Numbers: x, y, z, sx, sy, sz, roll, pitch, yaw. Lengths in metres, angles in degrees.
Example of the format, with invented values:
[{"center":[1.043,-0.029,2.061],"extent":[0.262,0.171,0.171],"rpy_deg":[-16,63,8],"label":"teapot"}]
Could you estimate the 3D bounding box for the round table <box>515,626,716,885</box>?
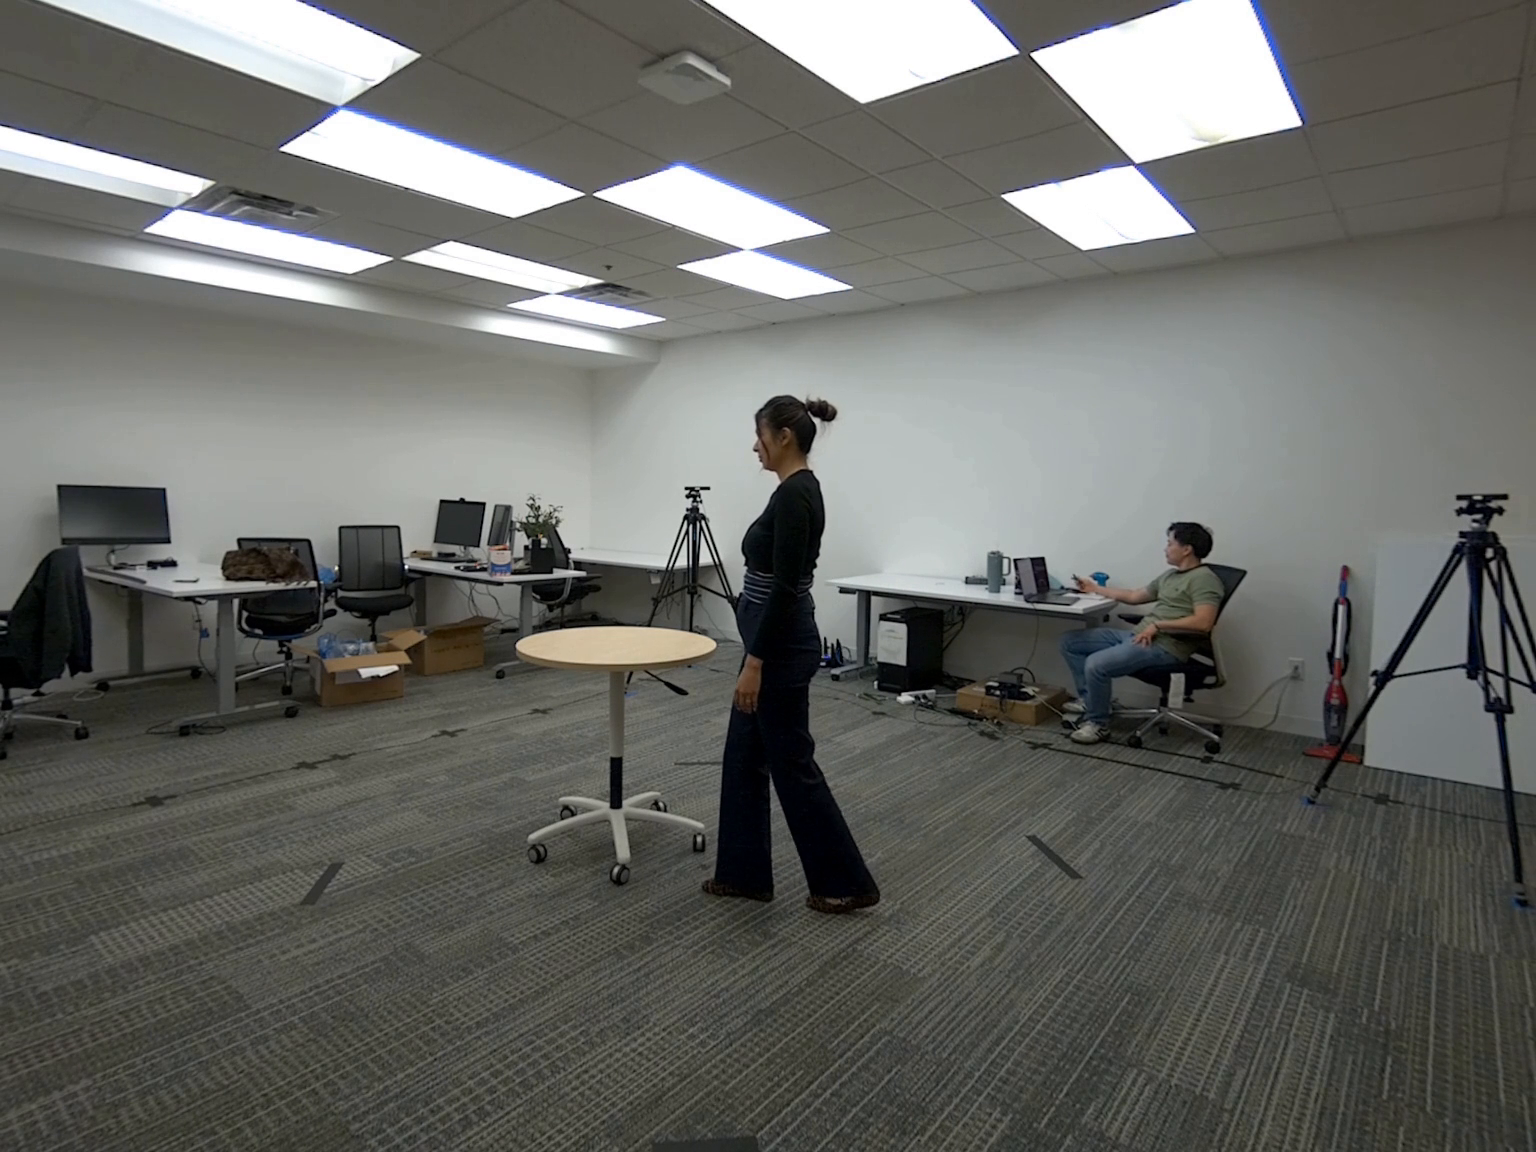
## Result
[{"center":[-0.604,0.652,3.302],"extent":[0.763,0.792,0.767],"rpy_deg":[1,4,-2],"label":"round table"}]
